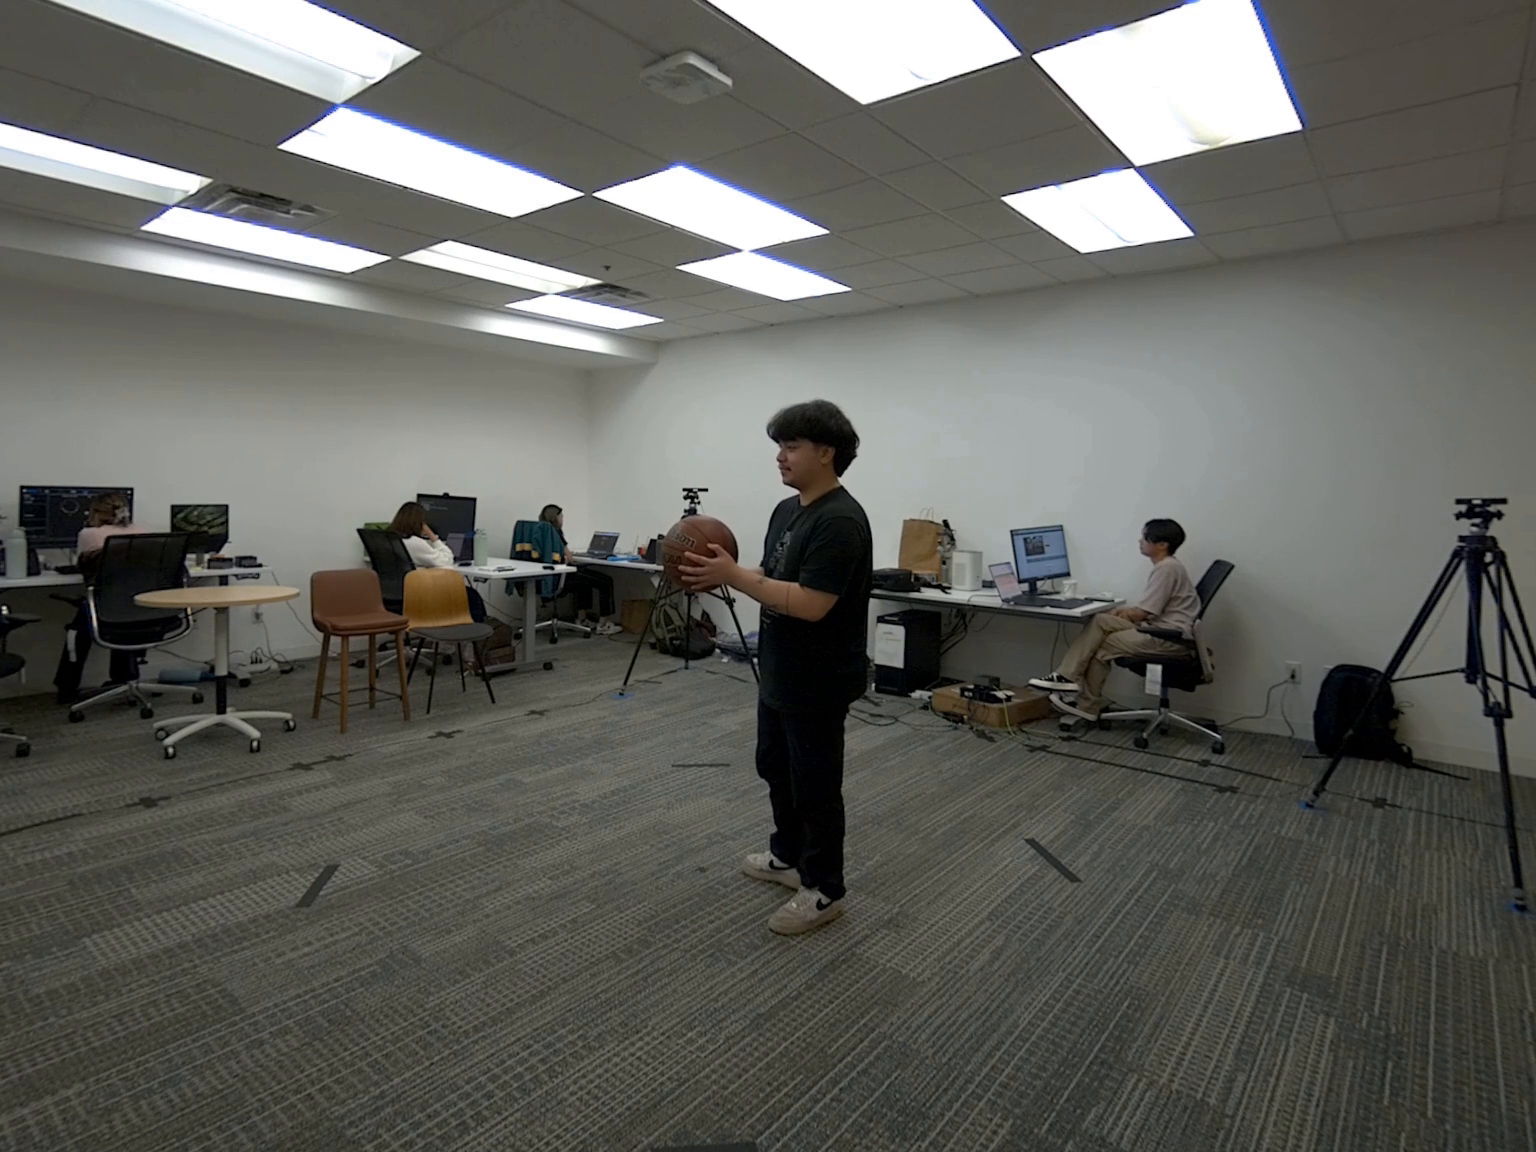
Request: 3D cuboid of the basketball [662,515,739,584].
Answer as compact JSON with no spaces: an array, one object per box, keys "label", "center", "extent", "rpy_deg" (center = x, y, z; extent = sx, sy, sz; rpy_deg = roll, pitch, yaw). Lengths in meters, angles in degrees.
[{"label":"basketball","center":[-0.214,-0.070,2.624],"extent":[0.235,0.235,0.237],"rpy_deg":[1,4,-2]}]
